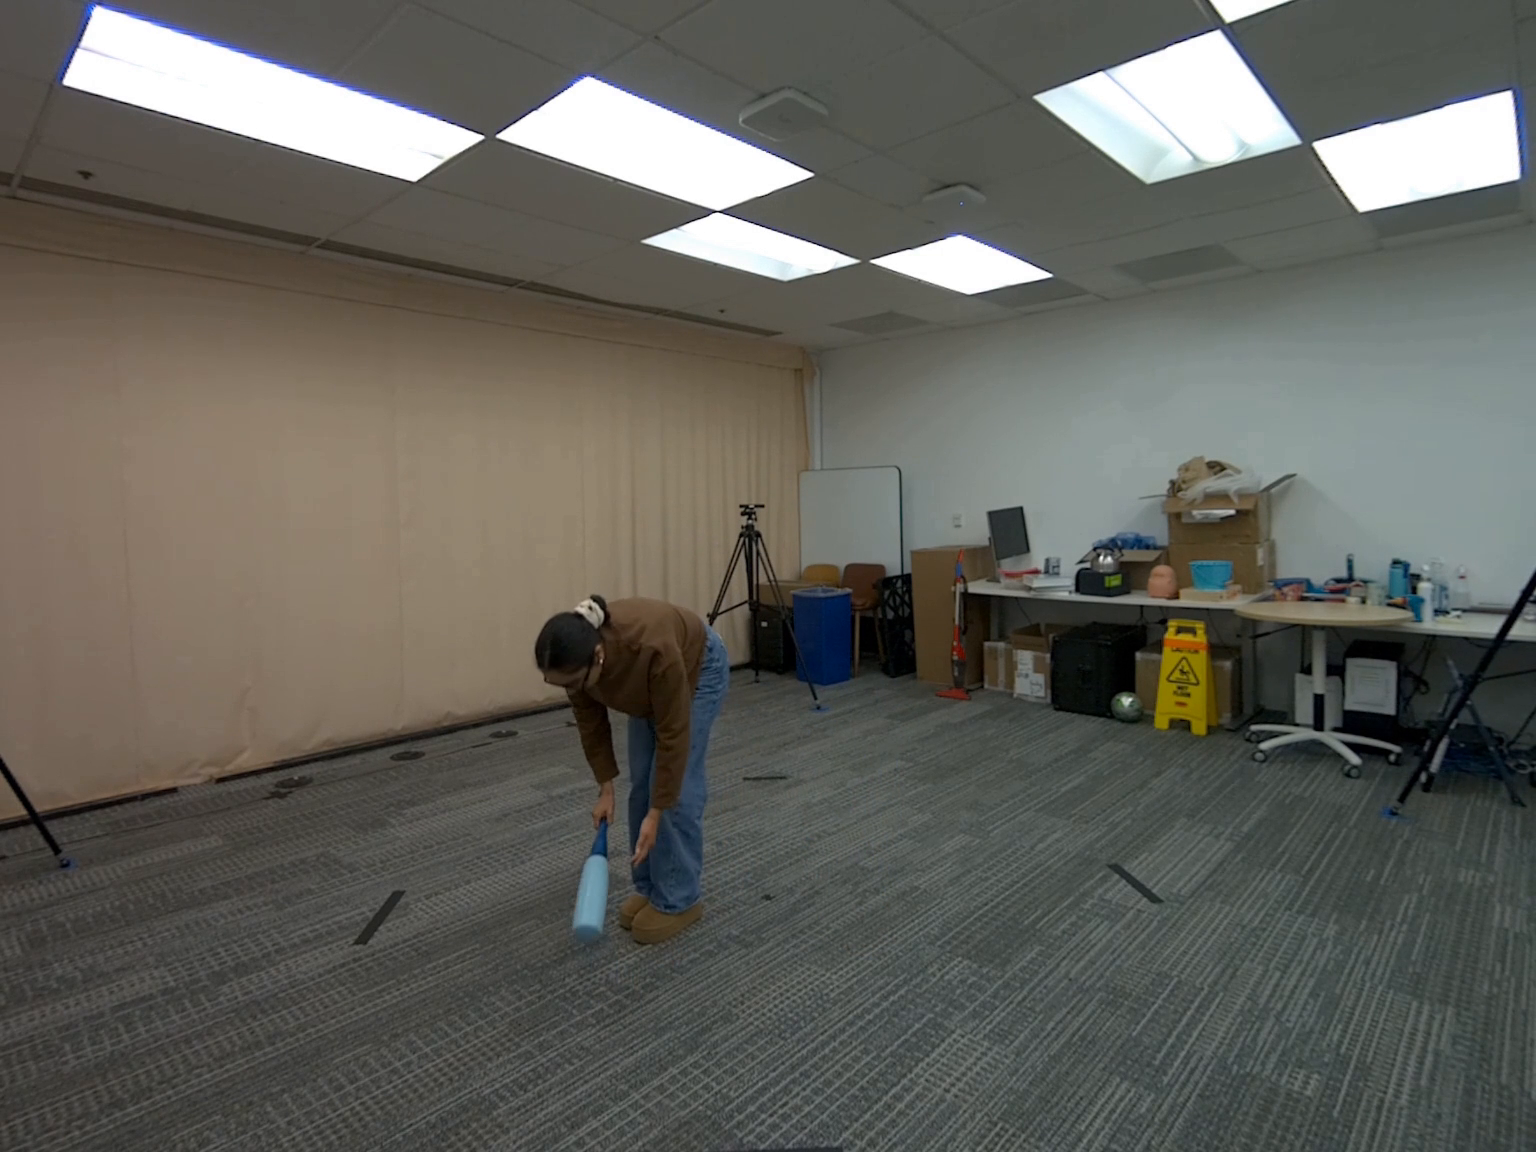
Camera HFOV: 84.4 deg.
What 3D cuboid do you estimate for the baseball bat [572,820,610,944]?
[{"bbox_3d":[-0.484,0.847,2.562,0.089,0.087,0.550,-1,30,2],"label":"baseball bat"}]
